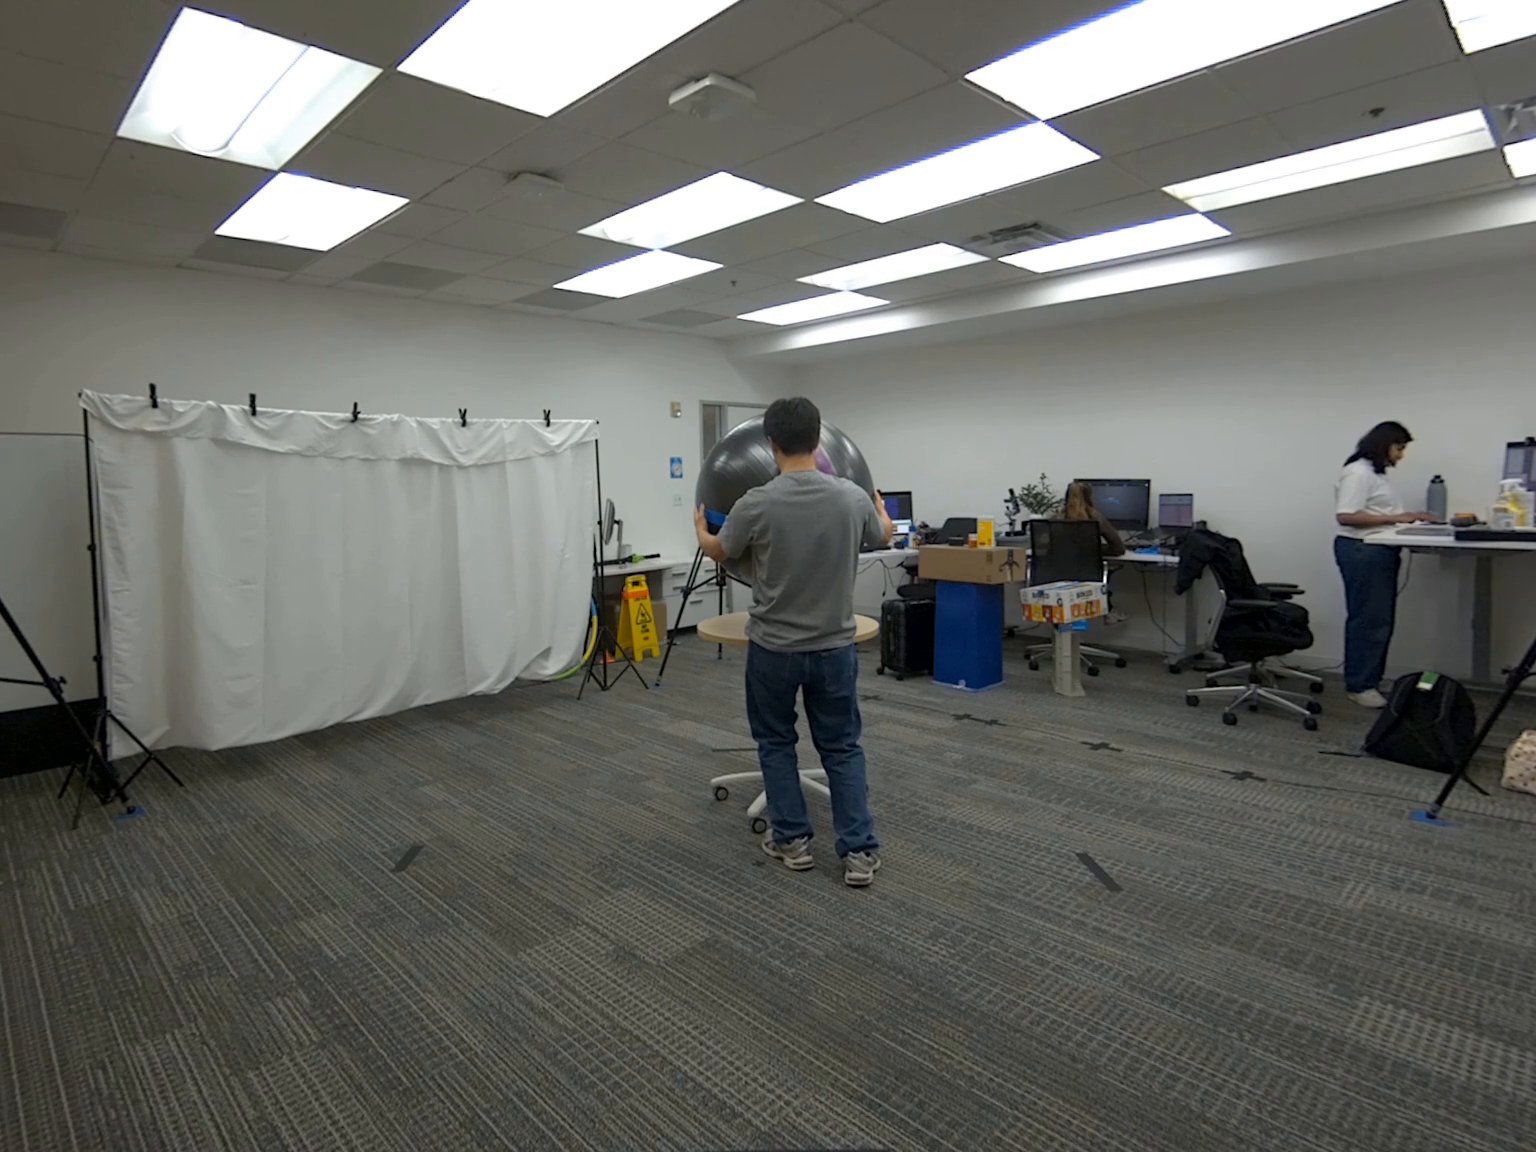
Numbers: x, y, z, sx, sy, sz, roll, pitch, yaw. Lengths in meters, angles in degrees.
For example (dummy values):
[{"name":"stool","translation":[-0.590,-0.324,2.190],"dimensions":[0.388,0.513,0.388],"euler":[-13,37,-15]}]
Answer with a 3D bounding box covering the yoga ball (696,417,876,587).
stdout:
[{"name":"yoga ball","translation":[0.072,-0.313,3.628],"dimensions":[0.757,0.755,0.762],"euler":[-1,5,-2]}]
